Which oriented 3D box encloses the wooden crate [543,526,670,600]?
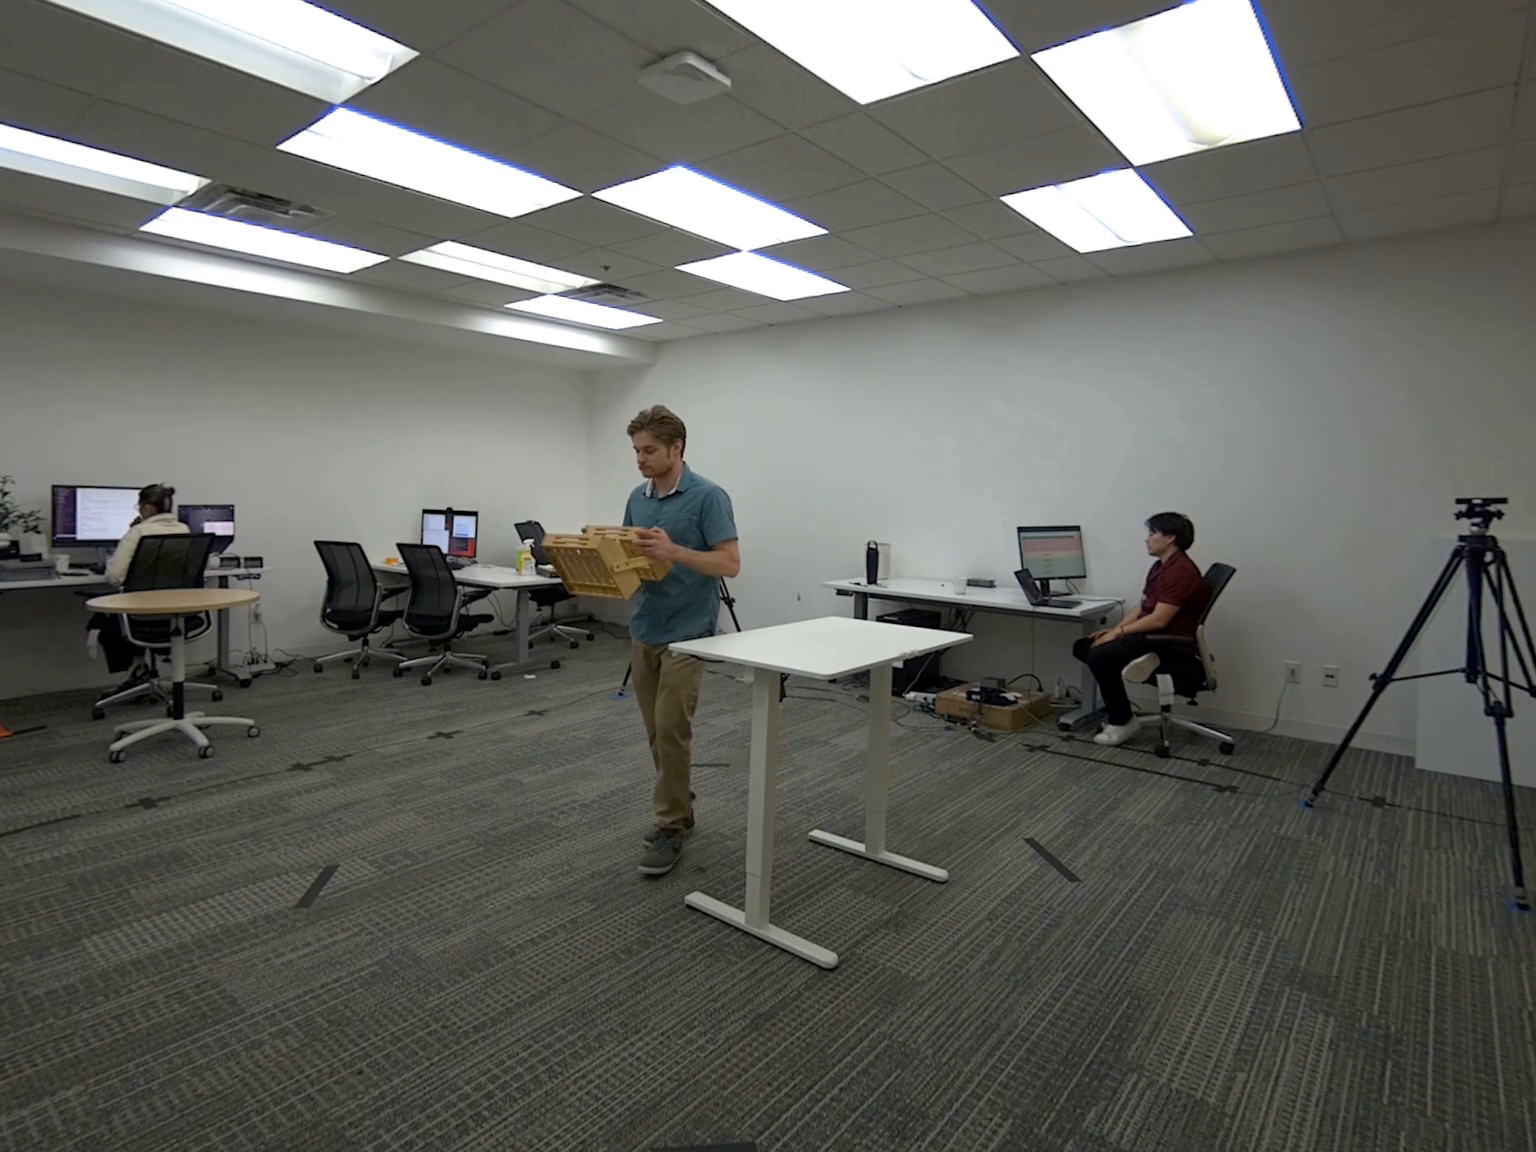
[{"bbox_3d":[-0.590,-0.087,3.074,0.335,0.292,0.274,4,40,37],"label":"wooden crate"}]
